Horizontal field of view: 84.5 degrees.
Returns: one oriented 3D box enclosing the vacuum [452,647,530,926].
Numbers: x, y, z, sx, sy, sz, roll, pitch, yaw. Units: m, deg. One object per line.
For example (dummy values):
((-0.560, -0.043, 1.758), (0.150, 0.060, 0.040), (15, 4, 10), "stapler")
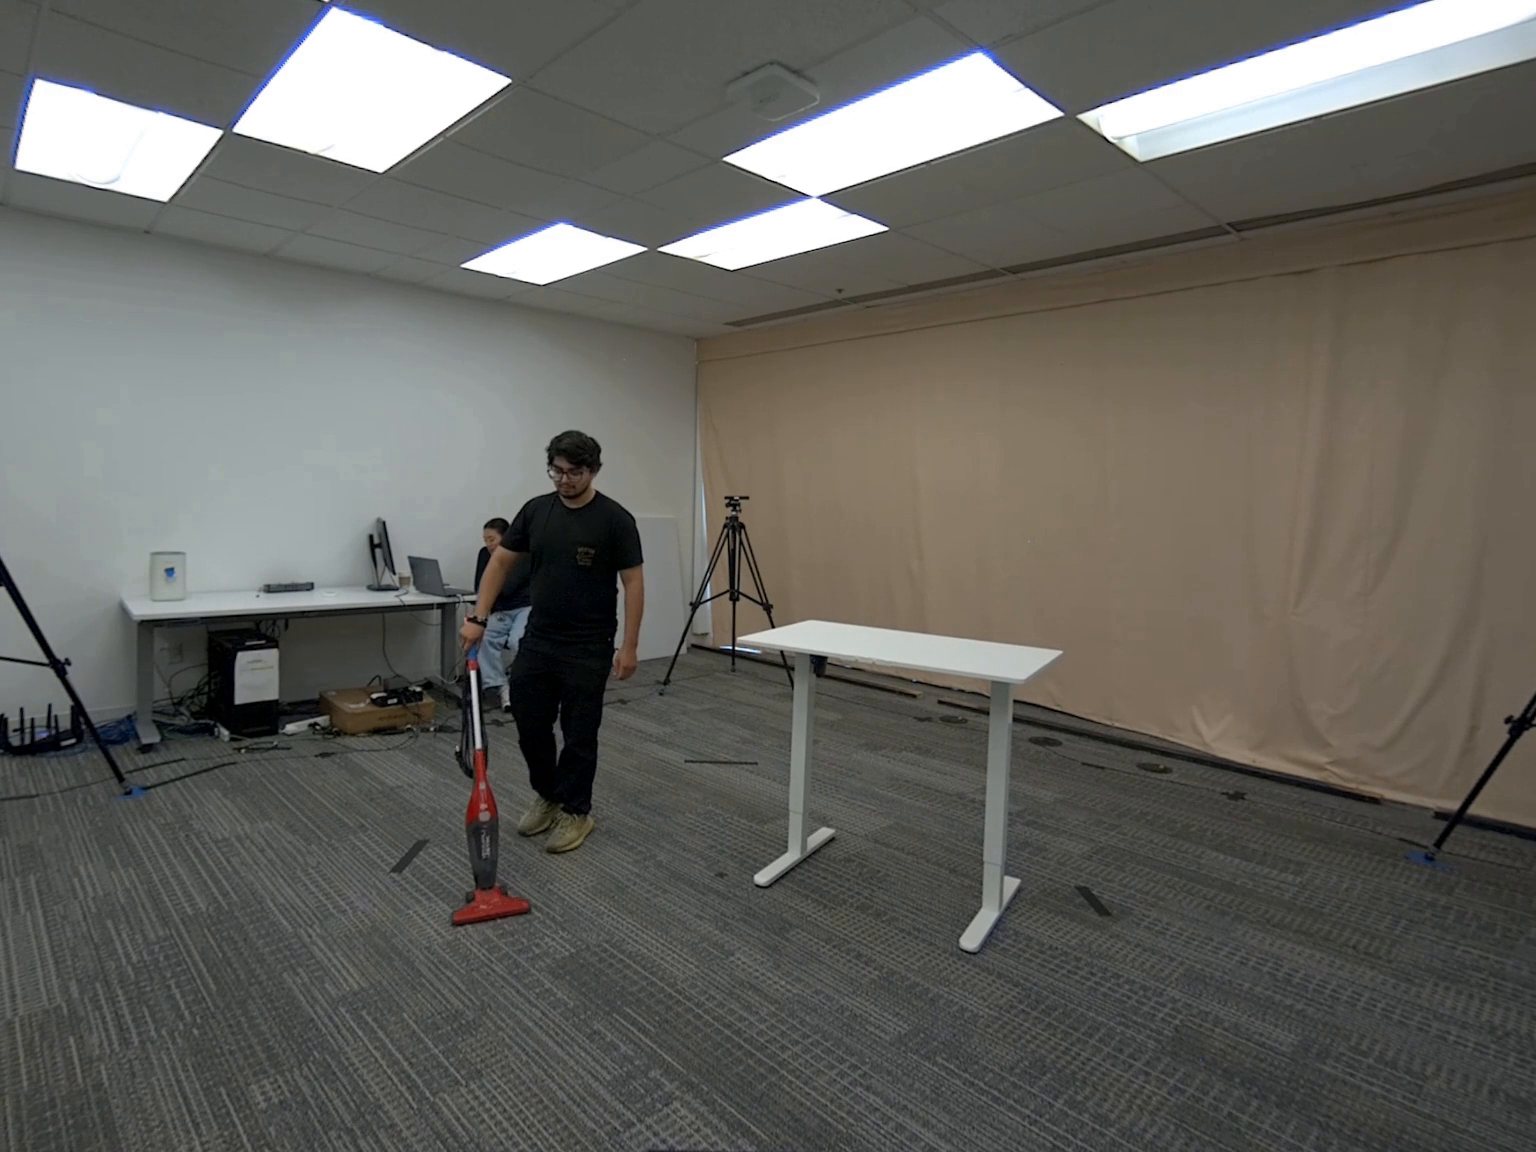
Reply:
((-1.046, 0.631, 3.028), (0.247, 1.072, 0.144), (0, -29, -29), "vacuum")
